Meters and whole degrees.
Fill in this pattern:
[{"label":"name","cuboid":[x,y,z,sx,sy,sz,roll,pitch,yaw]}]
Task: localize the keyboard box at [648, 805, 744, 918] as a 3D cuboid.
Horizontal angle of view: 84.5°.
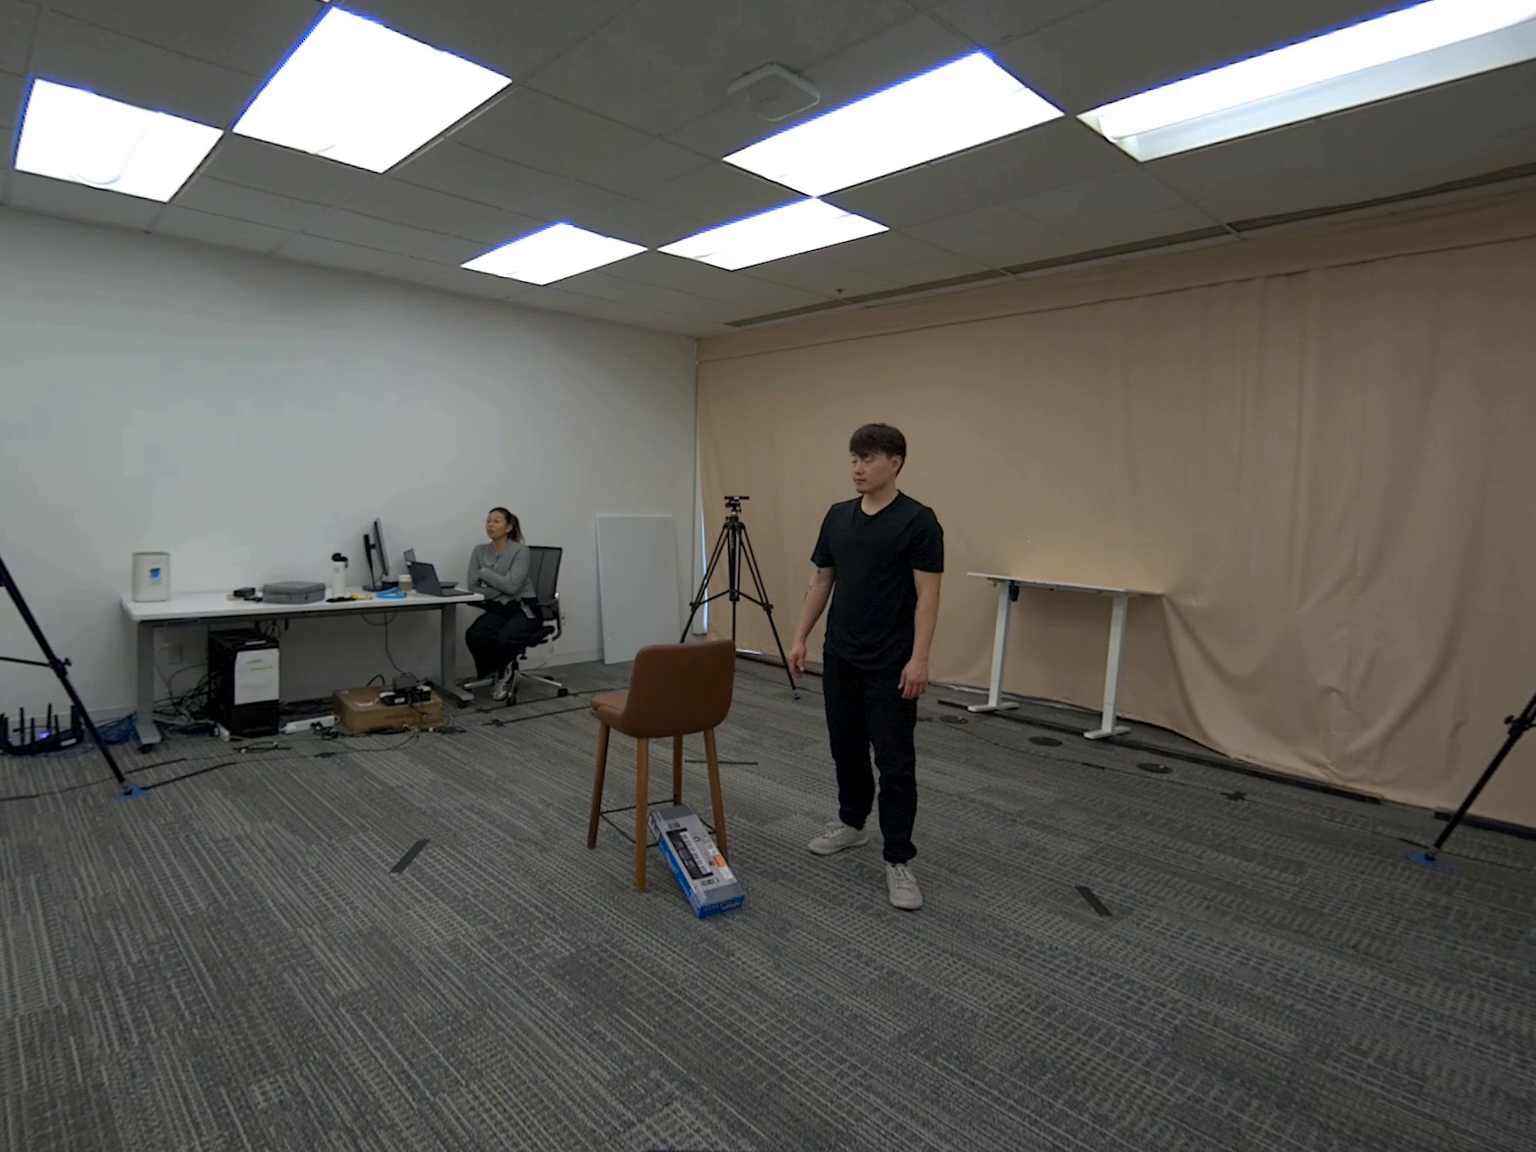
[{"label":"keyboard box","cuboid":[-0.263,0.999,2.970,0.172,0.058,0.451,-2,31,-32]}]
